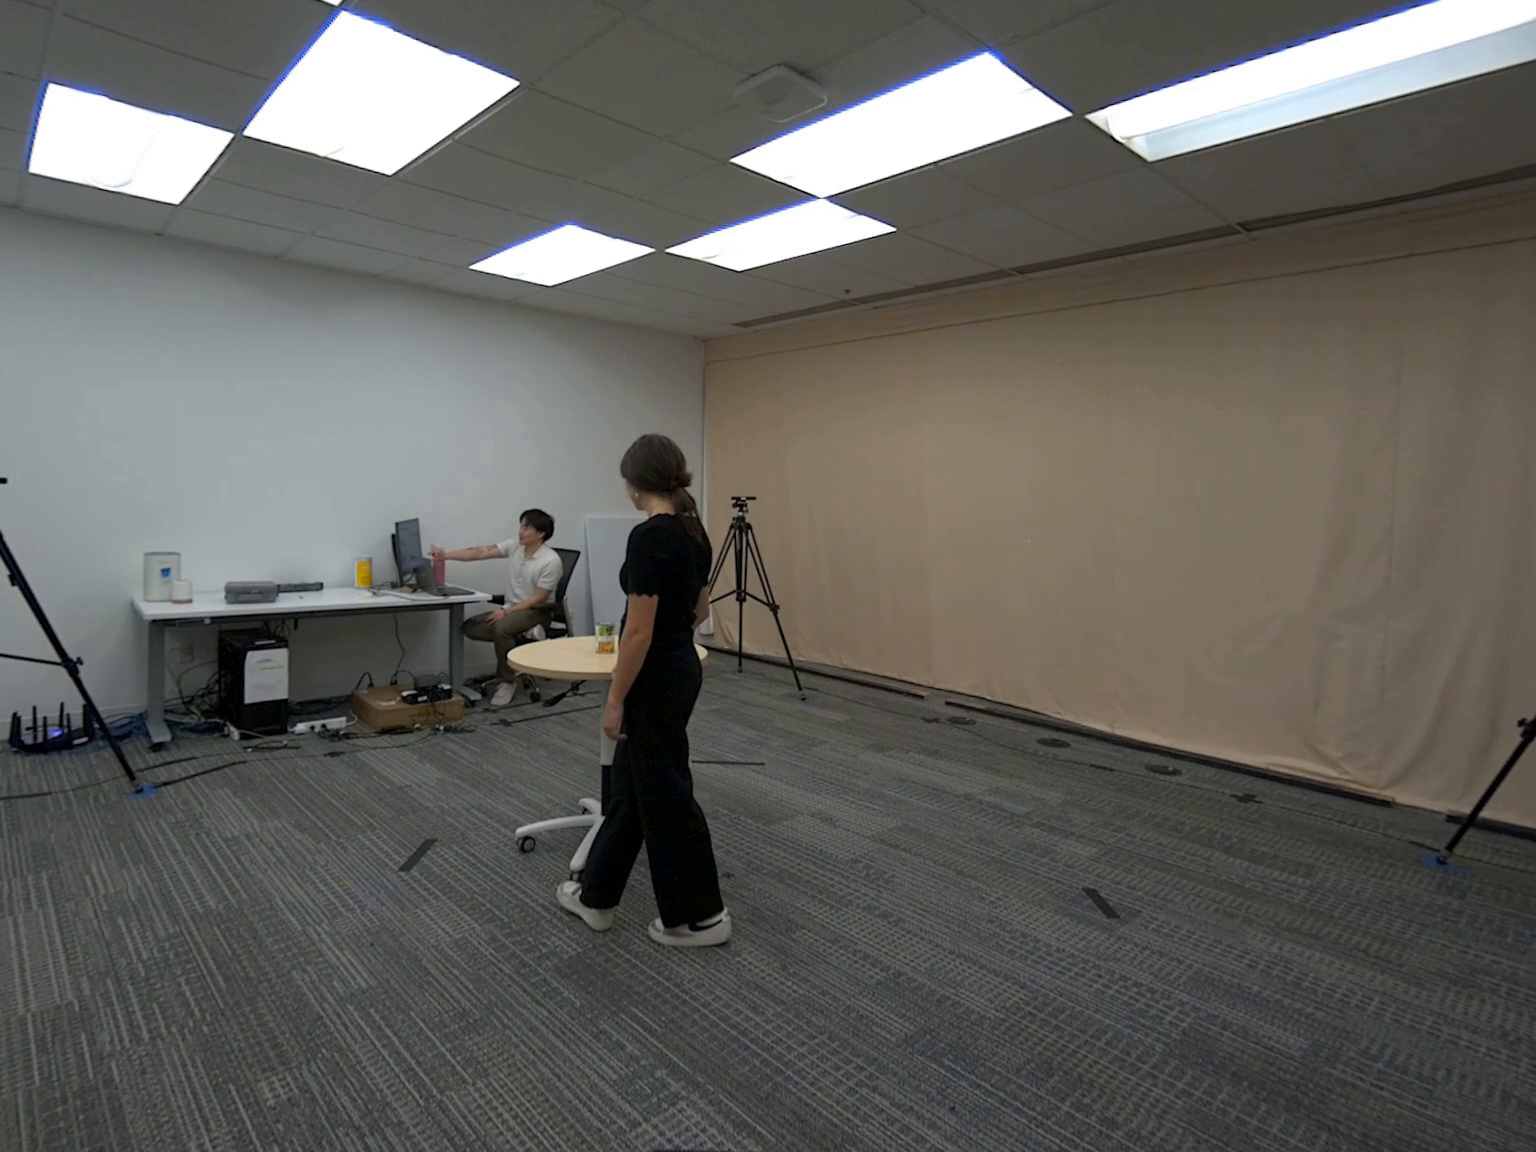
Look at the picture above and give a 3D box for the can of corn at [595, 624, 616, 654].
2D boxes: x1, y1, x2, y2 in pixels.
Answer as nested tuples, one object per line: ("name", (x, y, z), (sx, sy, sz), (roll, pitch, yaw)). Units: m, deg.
("can of corn", (-0.638, 0.240, 3.258), (0.074, 0.111, 0.074), (1, 4, -1))
